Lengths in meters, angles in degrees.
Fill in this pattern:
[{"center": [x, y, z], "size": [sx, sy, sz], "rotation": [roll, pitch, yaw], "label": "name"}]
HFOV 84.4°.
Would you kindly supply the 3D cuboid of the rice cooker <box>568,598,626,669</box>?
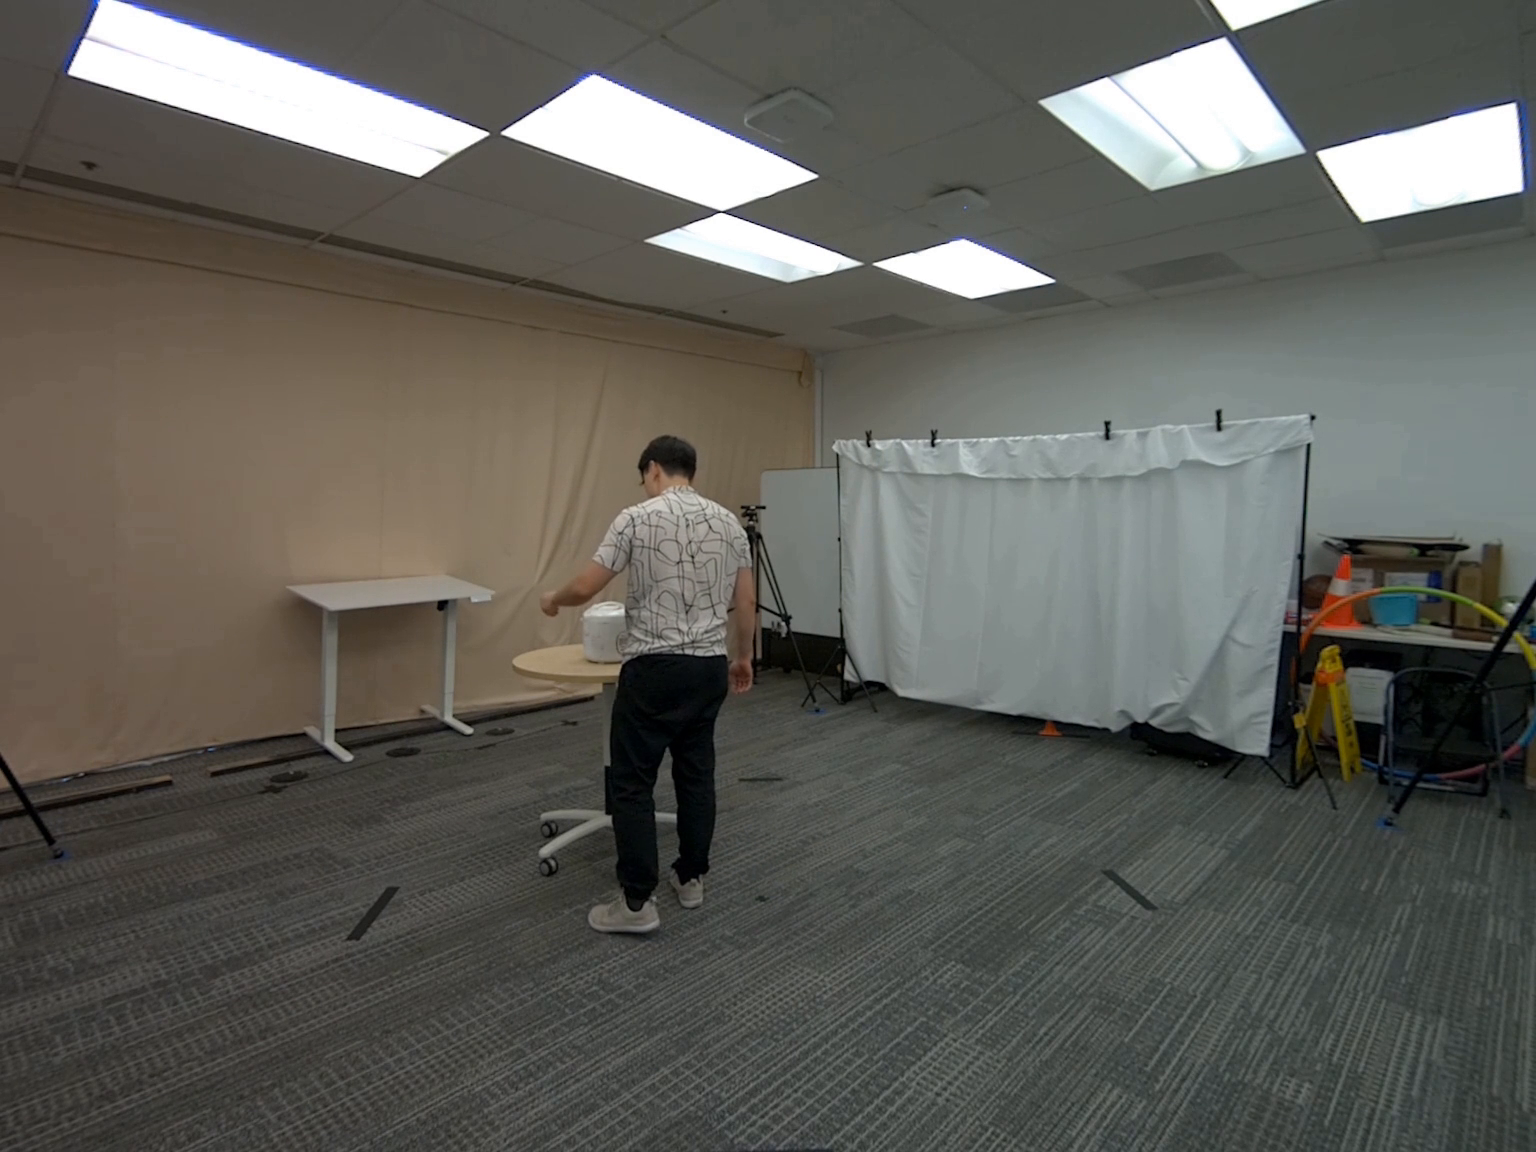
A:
[{"center": [-0.637, 0.220, 3.351], "size": [0.214, 0.232, 0.224], "rotation": [-5, 4, -41], "label": "rice cooker"}]
